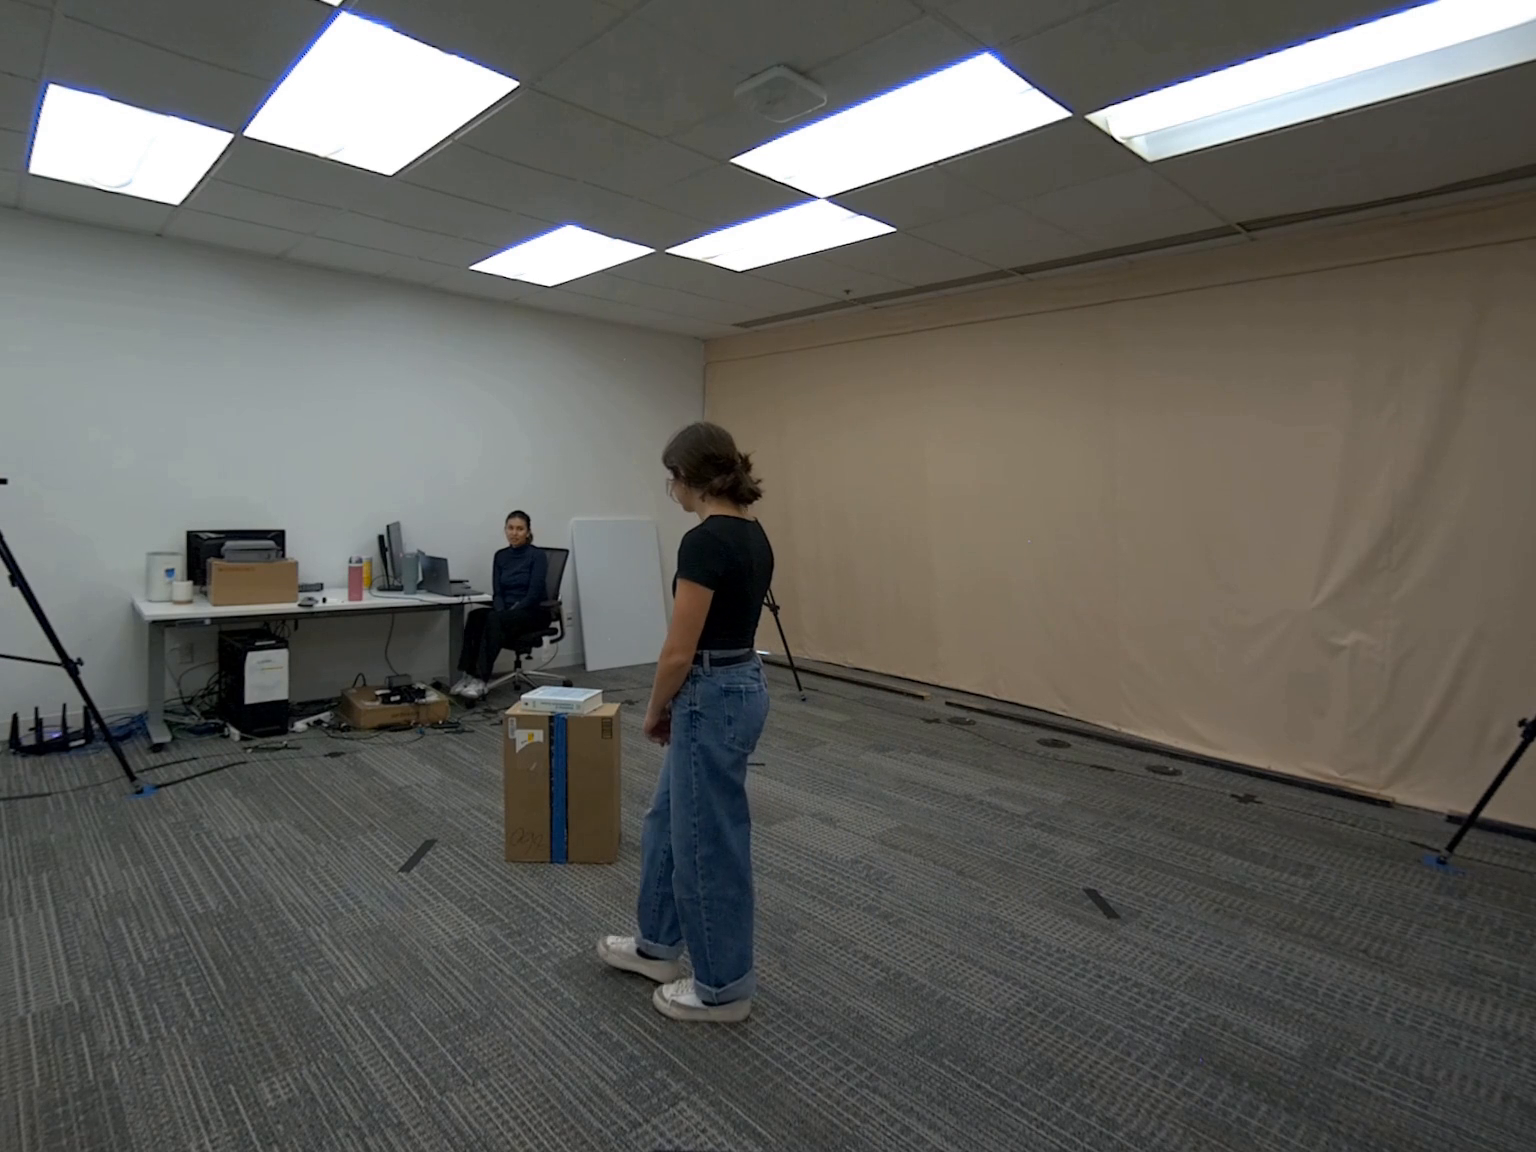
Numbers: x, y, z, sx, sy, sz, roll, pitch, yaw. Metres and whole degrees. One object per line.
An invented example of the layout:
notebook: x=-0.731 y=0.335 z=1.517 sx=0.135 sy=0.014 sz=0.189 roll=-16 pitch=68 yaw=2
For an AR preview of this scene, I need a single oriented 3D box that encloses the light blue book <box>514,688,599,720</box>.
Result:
light blue book: x=-0.817 y=0.491 z=3.280 sx=0.264 sy=0.059 sz=0.189 roll=2 pitch=4 yaw=13
